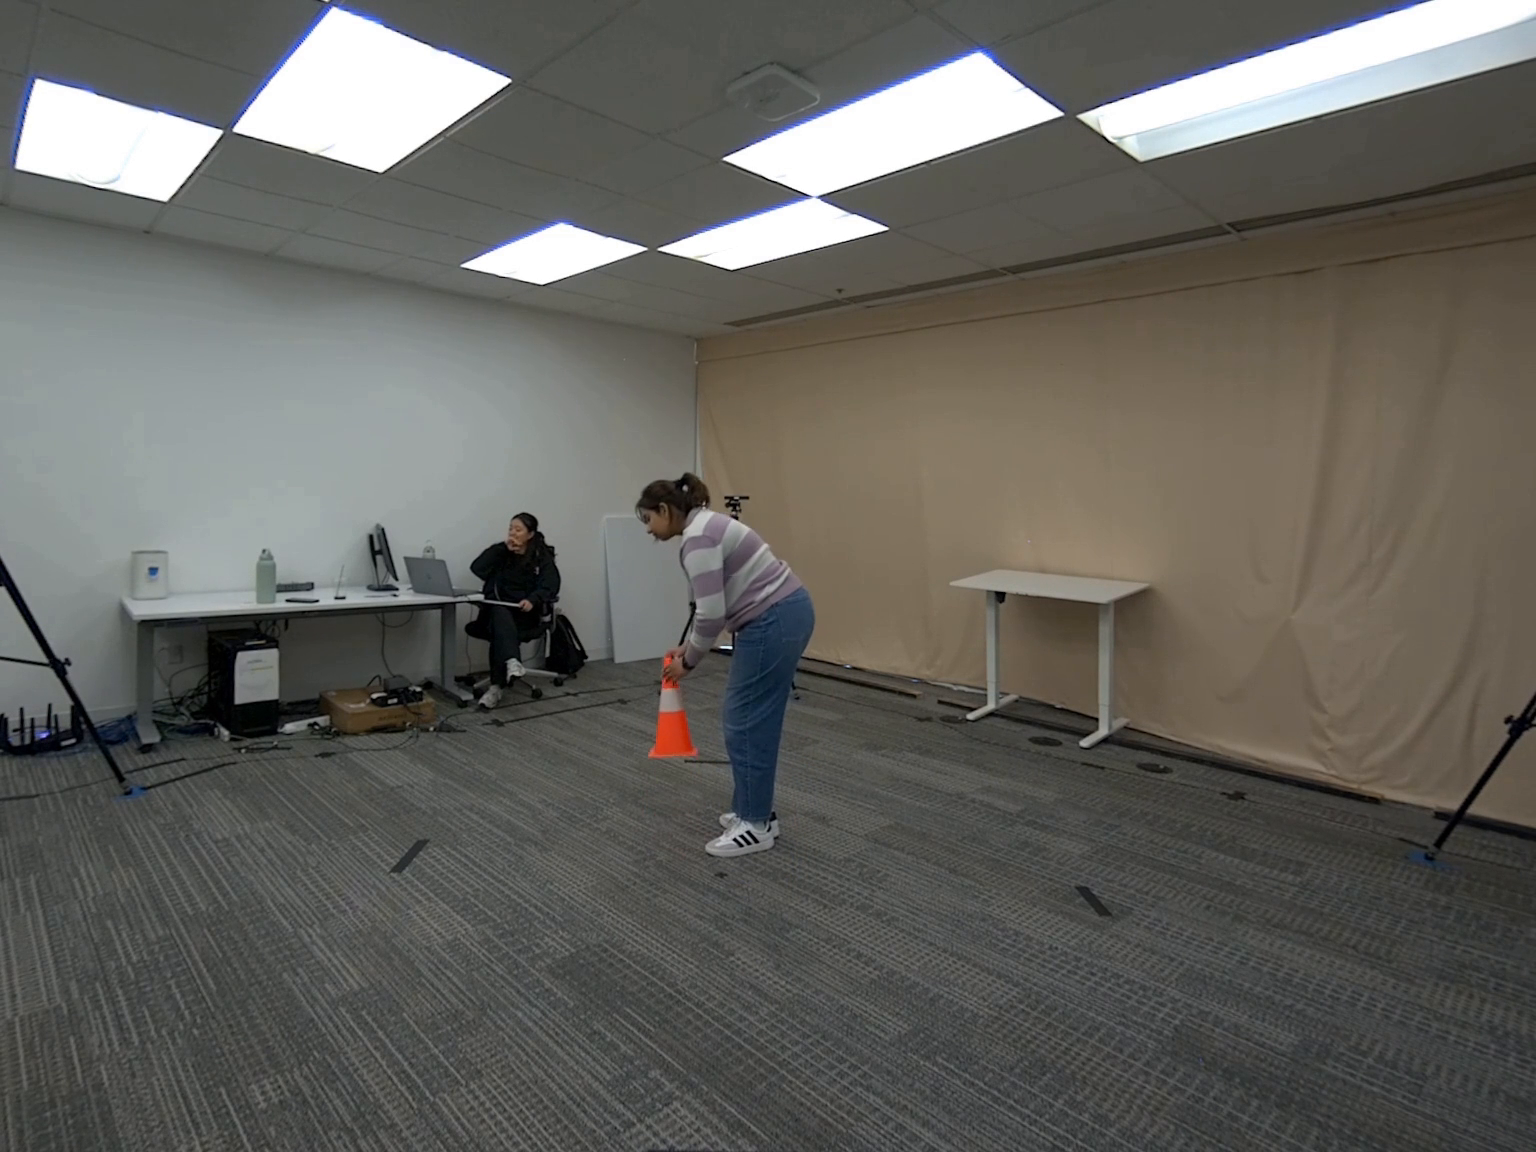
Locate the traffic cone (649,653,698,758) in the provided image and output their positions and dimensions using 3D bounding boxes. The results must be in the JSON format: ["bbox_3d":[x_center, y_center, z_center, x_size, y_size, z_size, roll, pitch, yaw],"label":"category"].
[{"bbox_3d":[-0.397,0.528,3.440,0.203,0.384,0.205,-4,-2,-1],"label":"traffic cone"}]
